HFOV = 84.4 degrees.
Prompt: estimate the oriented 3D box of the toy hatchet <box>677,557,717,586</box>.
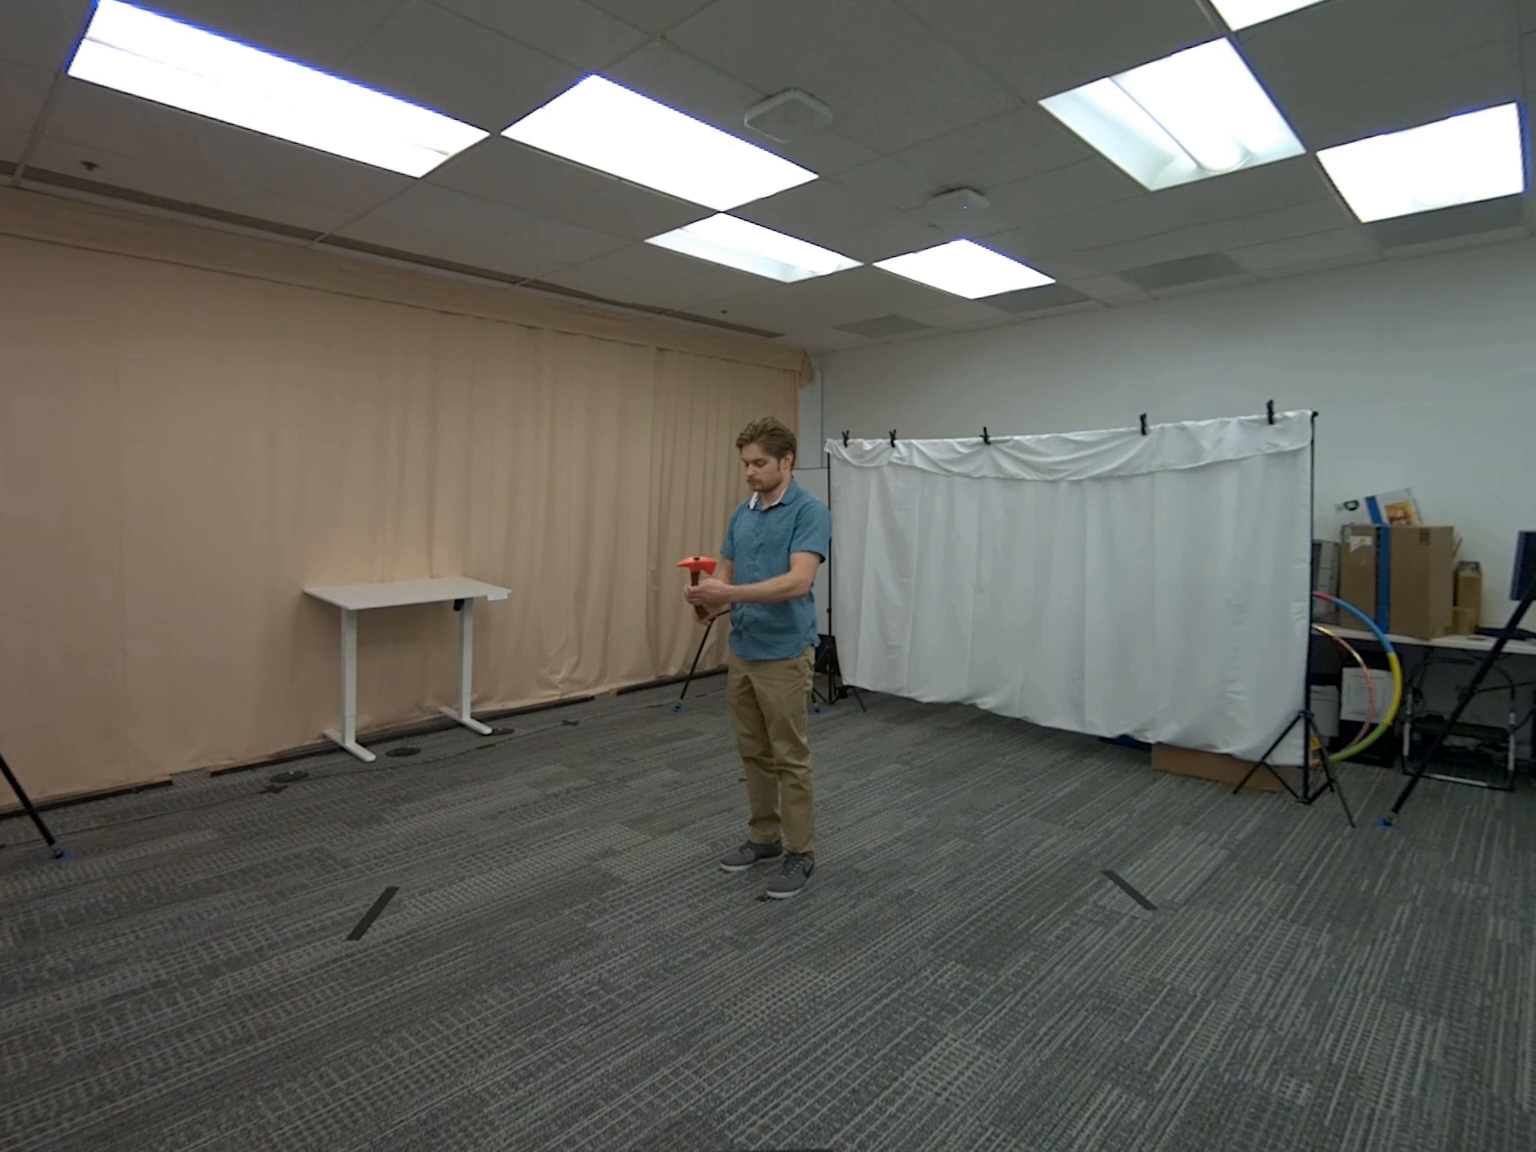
[{"bbox_3d":[-0.215,0.041,2.866,0.131,0.262,0.030,-21,37,1],"label":"toy hatchet"}]
